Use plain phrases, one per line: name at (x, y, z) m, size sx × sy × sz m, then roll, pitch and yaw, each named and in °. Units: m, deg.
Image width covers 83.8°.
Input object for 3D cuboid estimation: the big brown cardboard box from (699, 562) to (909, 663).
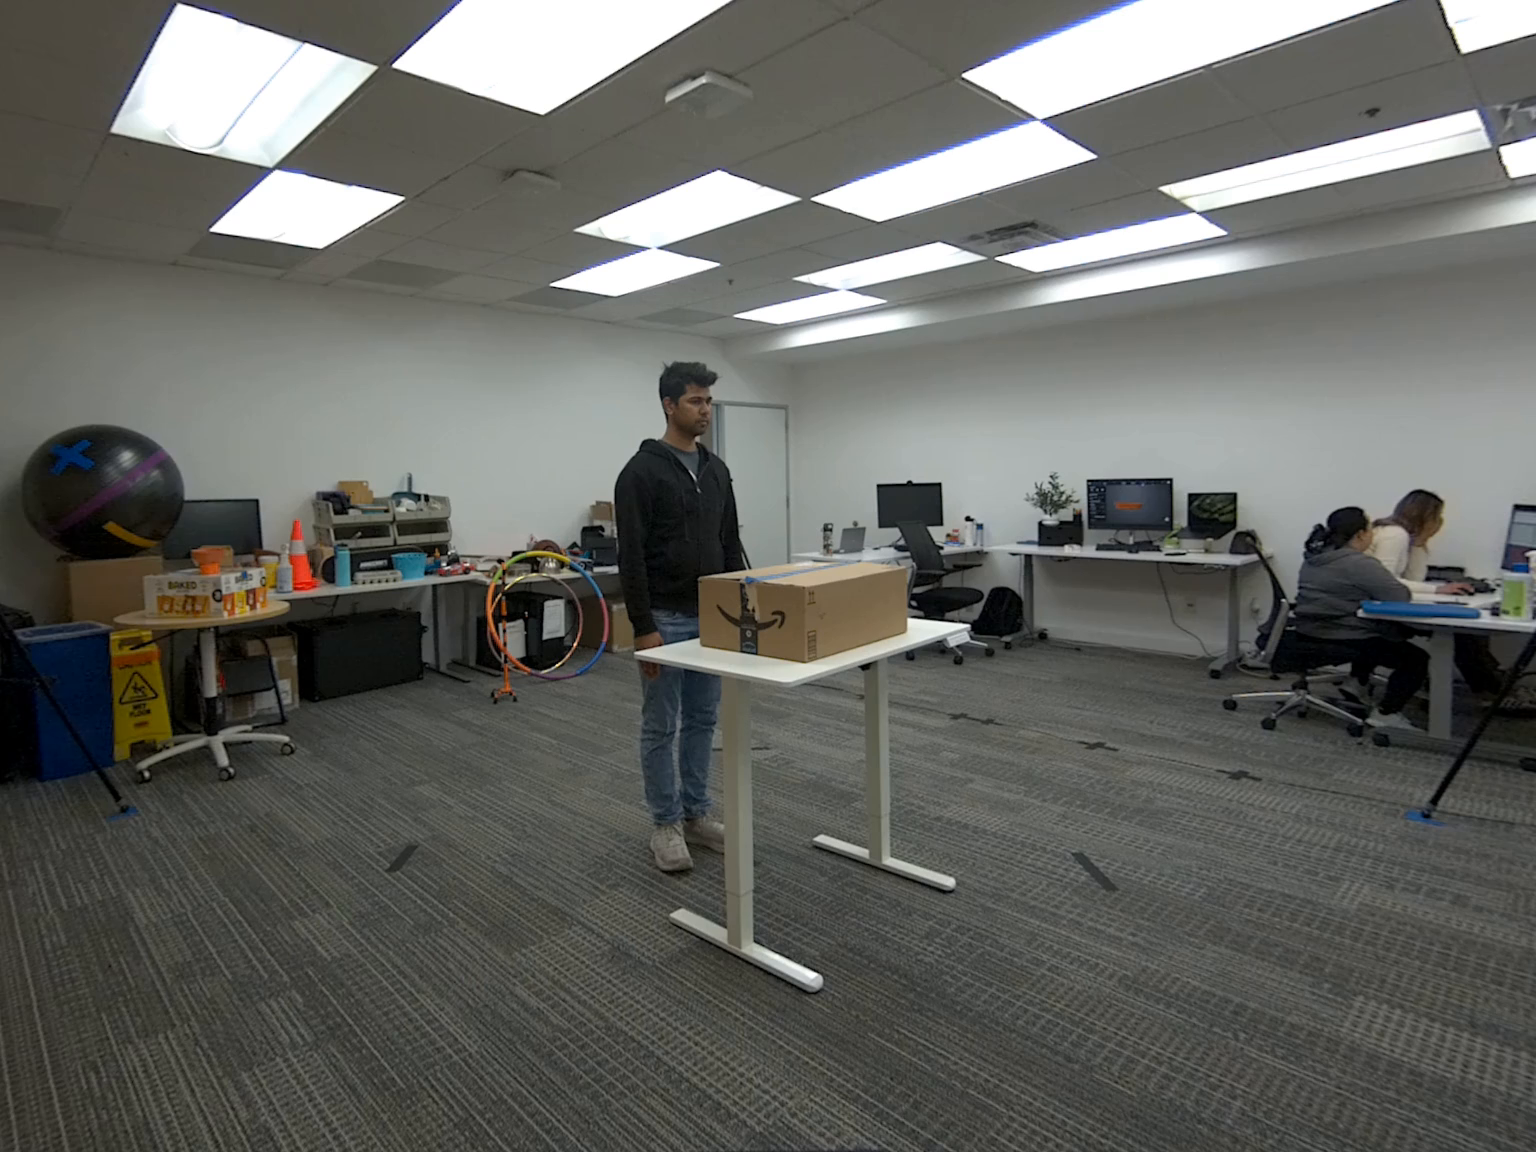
big brown cardboard box at (0.112, 0.092, 2.733) m, size 0.430 × 0.232 × 0.574 m, roll 4°, pitch 9°, yaw 41°
